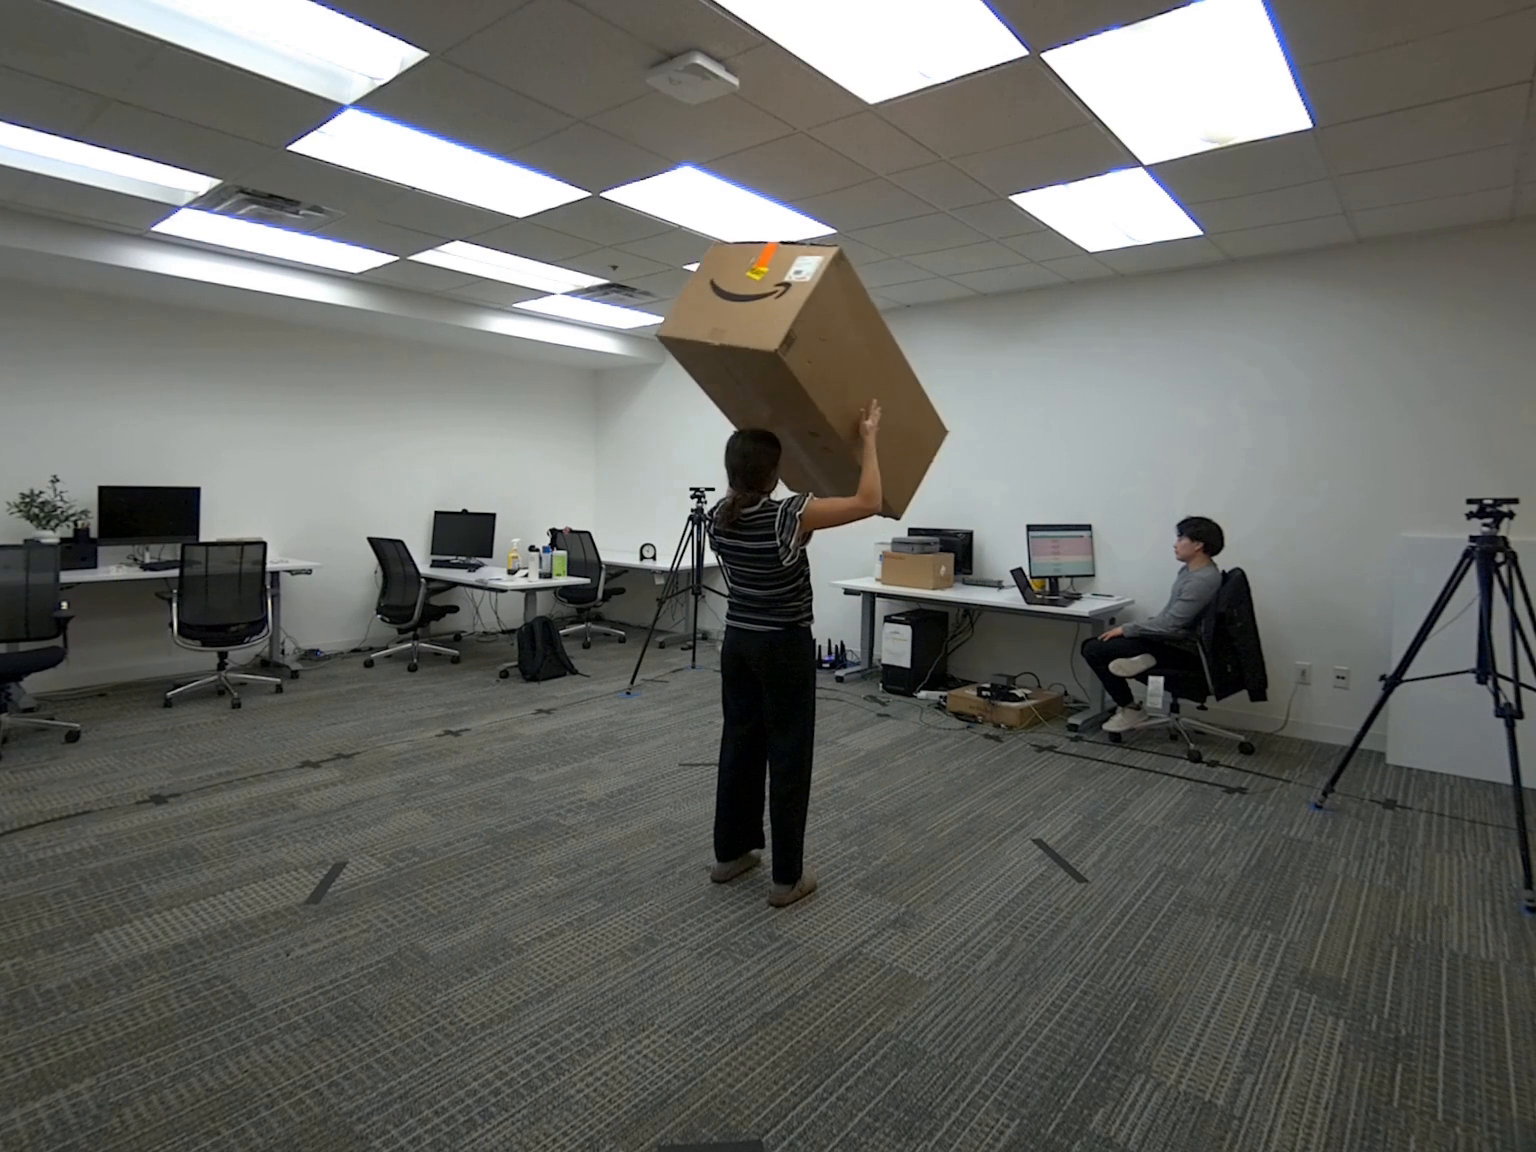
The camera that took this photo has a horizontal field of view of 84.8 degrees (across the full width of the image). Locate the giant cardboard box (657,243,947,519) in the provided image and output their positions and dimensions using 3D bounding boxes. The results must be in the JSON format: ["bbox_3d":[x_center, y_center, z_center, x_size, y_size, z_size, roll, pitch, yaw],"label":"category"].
[{"bbox_3d":[0.155,-0.677,3.139,0.600,0.428,0.982,20,-16,41],"label":"giant cardboard box"}]
